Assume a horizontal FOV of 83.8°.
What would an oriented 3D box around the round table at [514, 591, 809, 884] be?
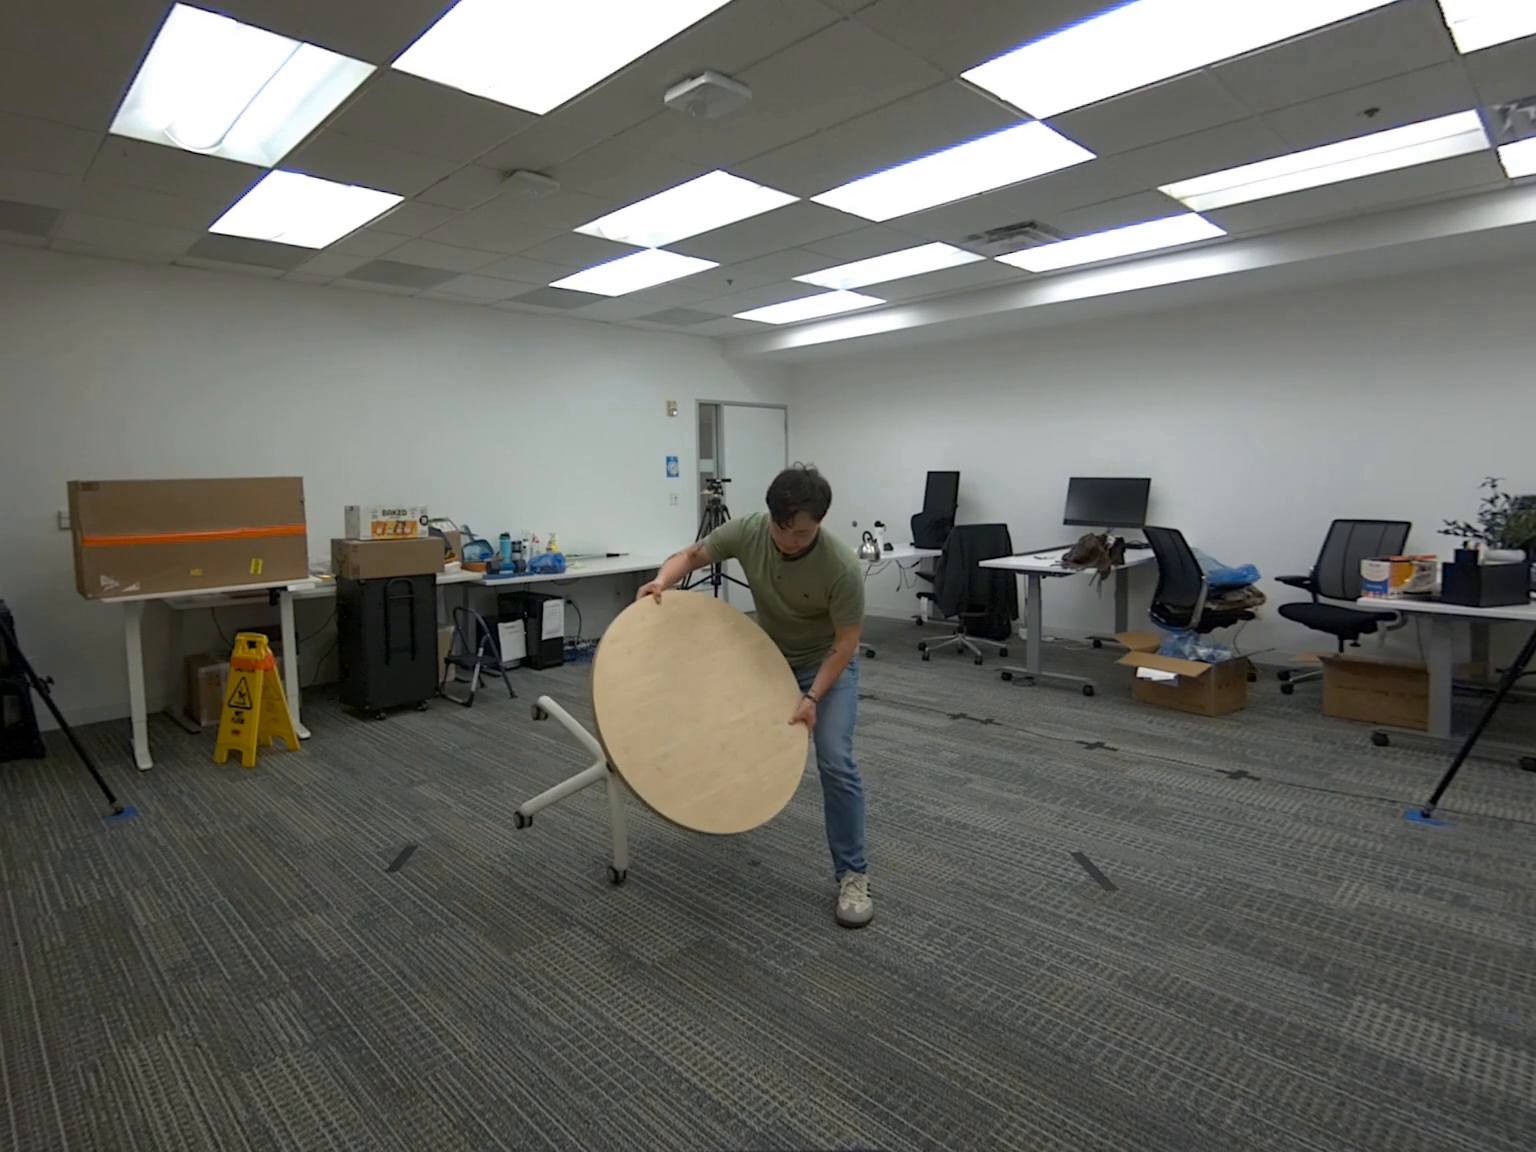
[{"bbox_3d":[-0.412,0.565,2.879,0.744,0.781,0.797,-5,-24,-41],"label":"round table"}]
